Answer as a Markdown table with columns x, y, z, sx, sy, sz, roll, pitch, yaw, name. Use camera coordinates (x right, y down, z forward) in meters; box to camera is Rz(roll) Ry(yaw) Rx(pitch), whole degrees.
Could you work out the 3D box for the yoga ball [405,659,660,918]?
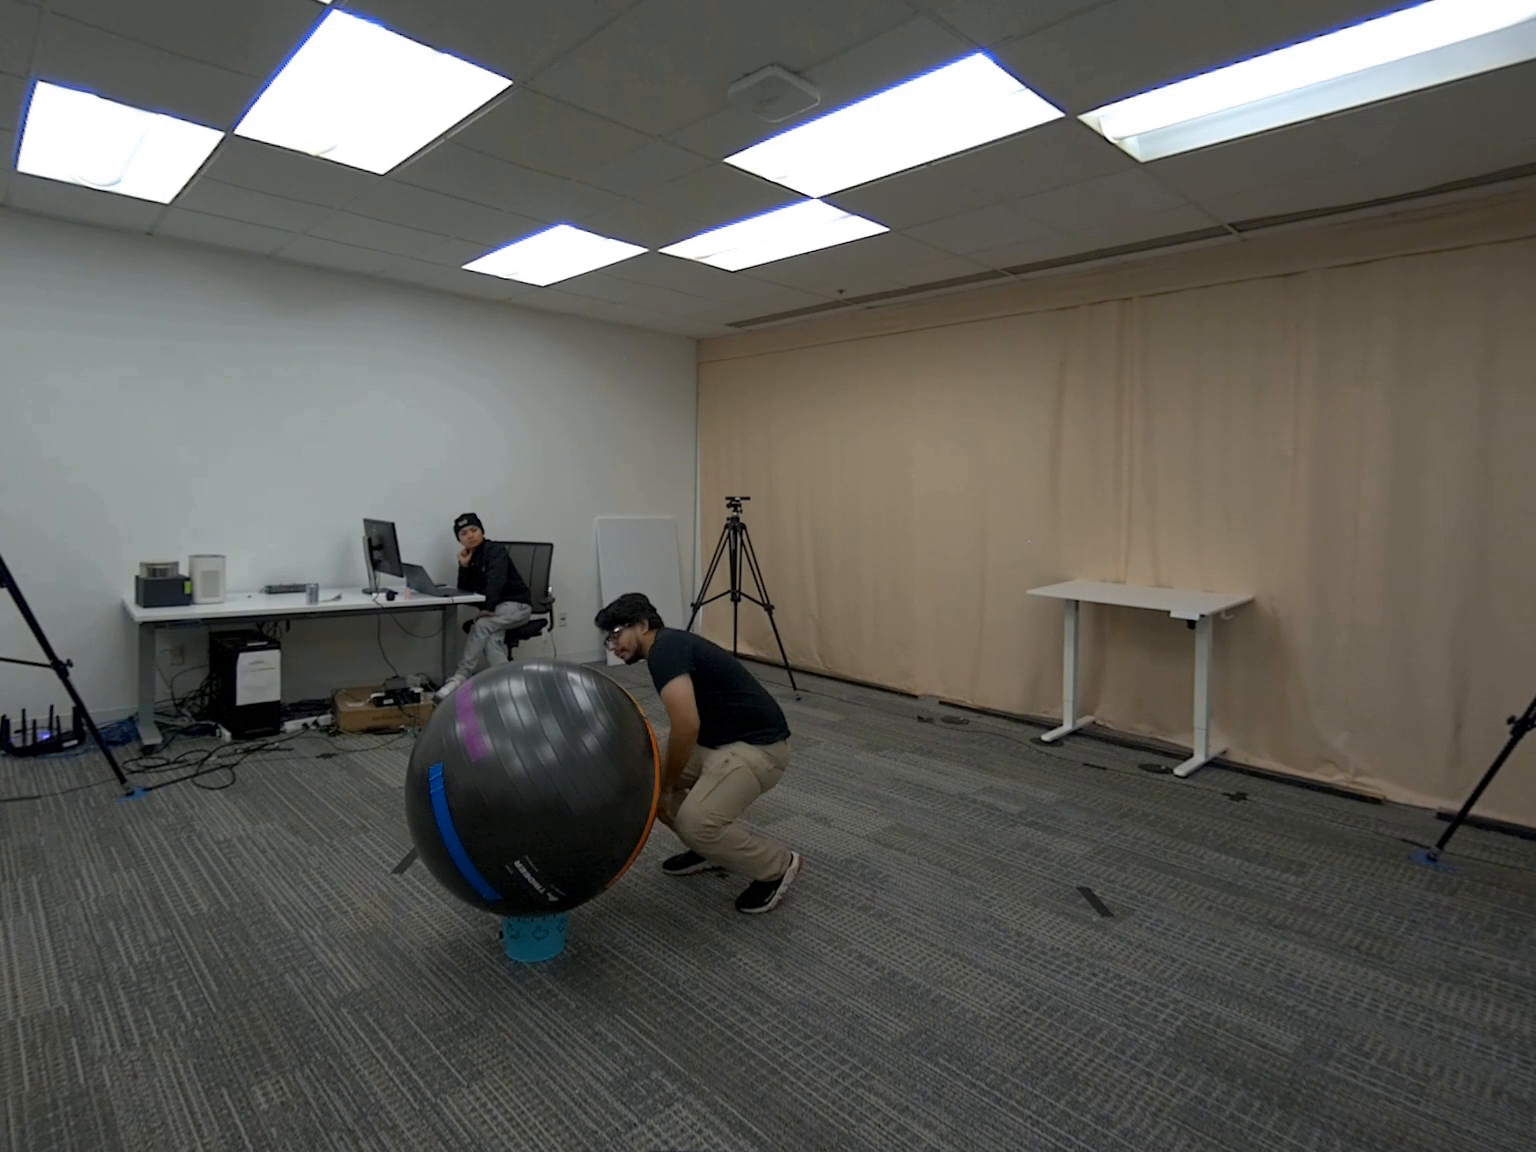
| x | y | z | sx | sy | sz | roll | pitch | yaw | name |
| --- | --- | --- | --- | --- | --- | --- | --- | --- | --- |
| -0.710 | 0.639 | 2.568 | 0.757 | 0.756 | 0.761 | 1 | 4 | -1 | yoga ball |
